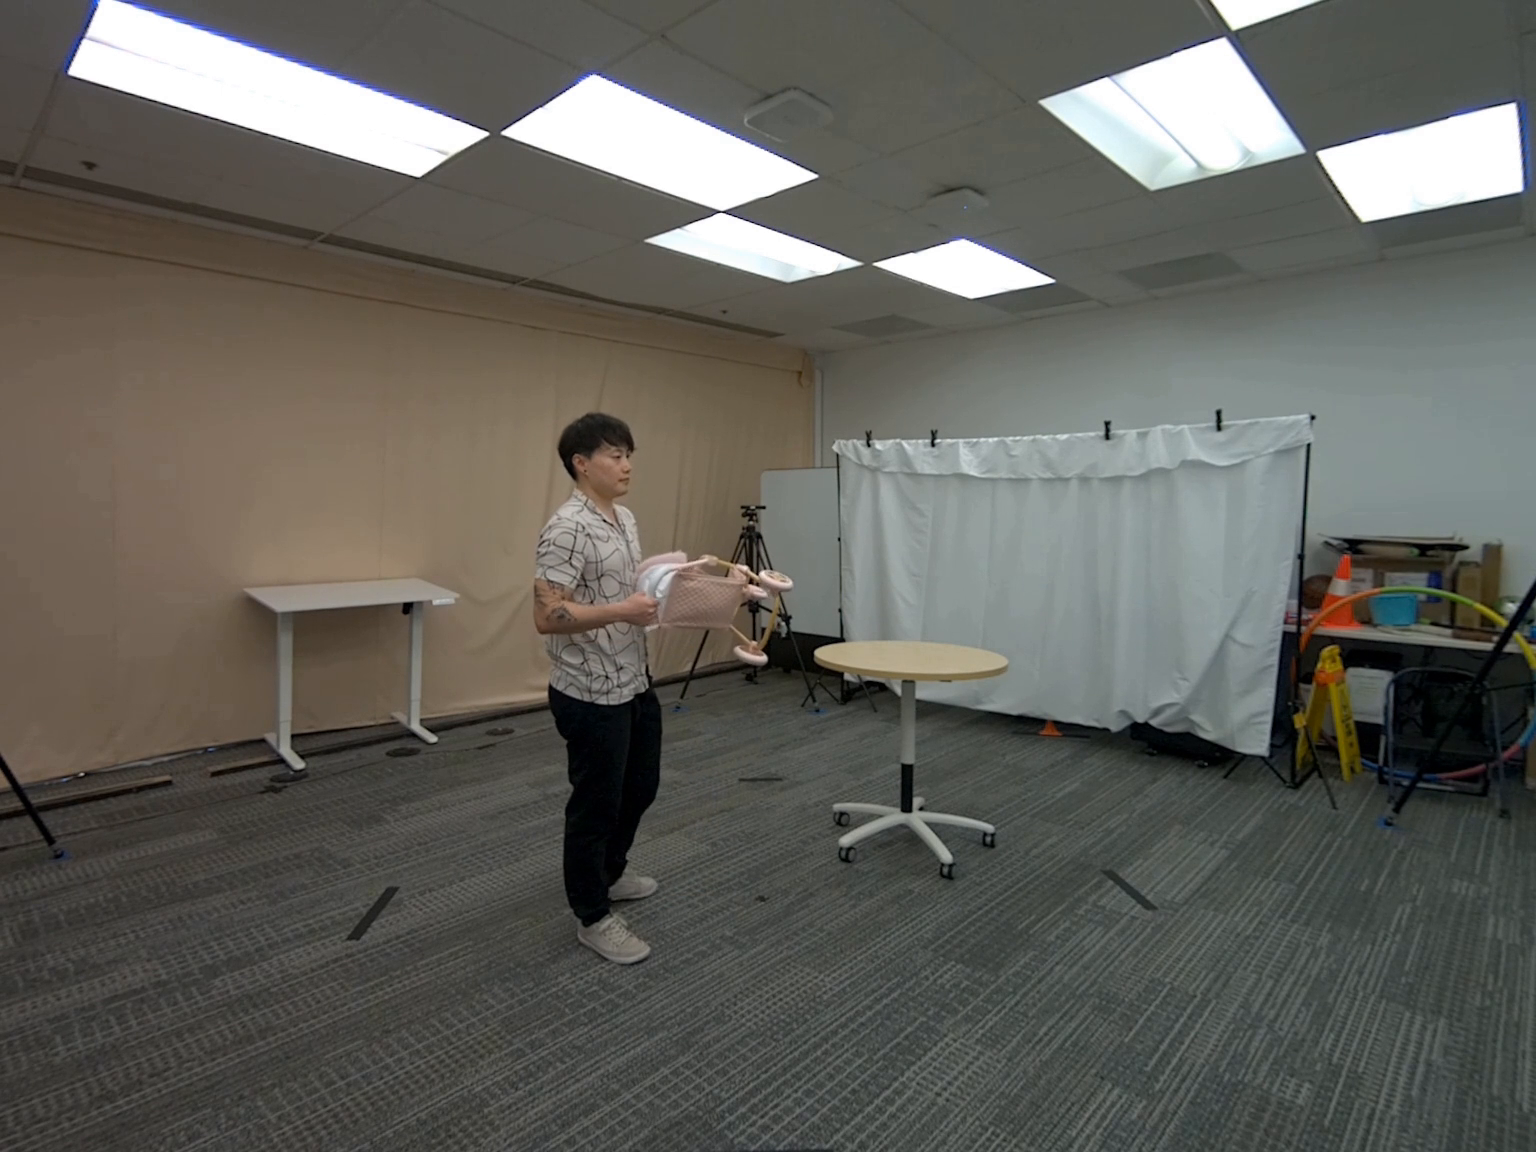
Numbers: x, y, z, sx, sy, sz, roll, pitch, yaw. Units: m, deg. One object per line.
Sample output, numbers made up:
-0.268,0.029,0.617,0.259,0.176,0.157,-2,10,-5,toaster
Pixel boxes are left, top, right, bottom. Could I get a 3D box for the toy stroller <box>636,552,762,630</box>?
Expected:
-0.182,0.060,2.590,0.521,0.280,0.352,11,18,-26,toy stroller
